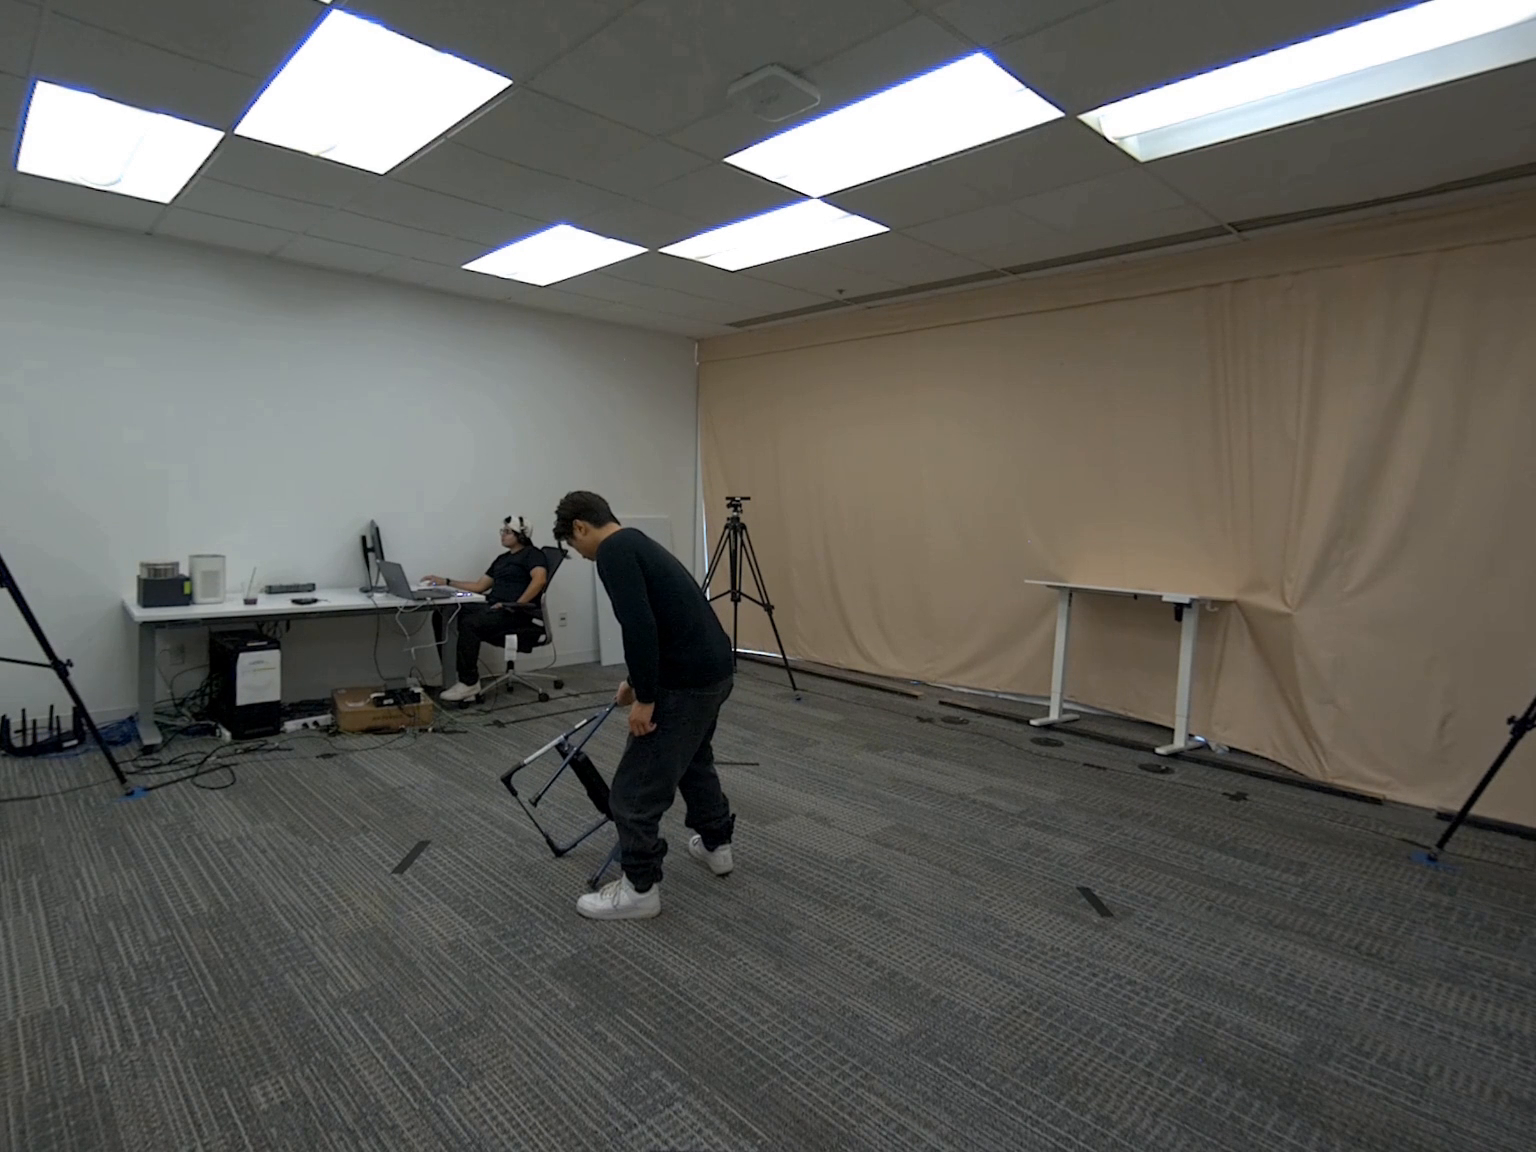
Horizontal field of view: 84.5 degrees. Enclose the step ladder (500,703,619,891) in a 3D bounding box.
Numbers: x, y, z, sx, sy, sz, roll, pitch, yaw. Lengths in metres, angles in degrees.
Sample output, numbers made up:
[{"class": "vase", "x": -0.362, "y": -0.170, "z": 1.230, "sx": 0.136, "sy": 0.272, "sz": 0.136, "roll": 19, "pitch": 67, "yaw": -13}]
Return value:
[{"class": "step ladder", "x": -0.611, "y": 0.749, "z": 3.170, "sx": 0.604, "sy": 0.422, "sz": 0.357, "roll": -39, "pitch": 23, "yaw": -27}]
